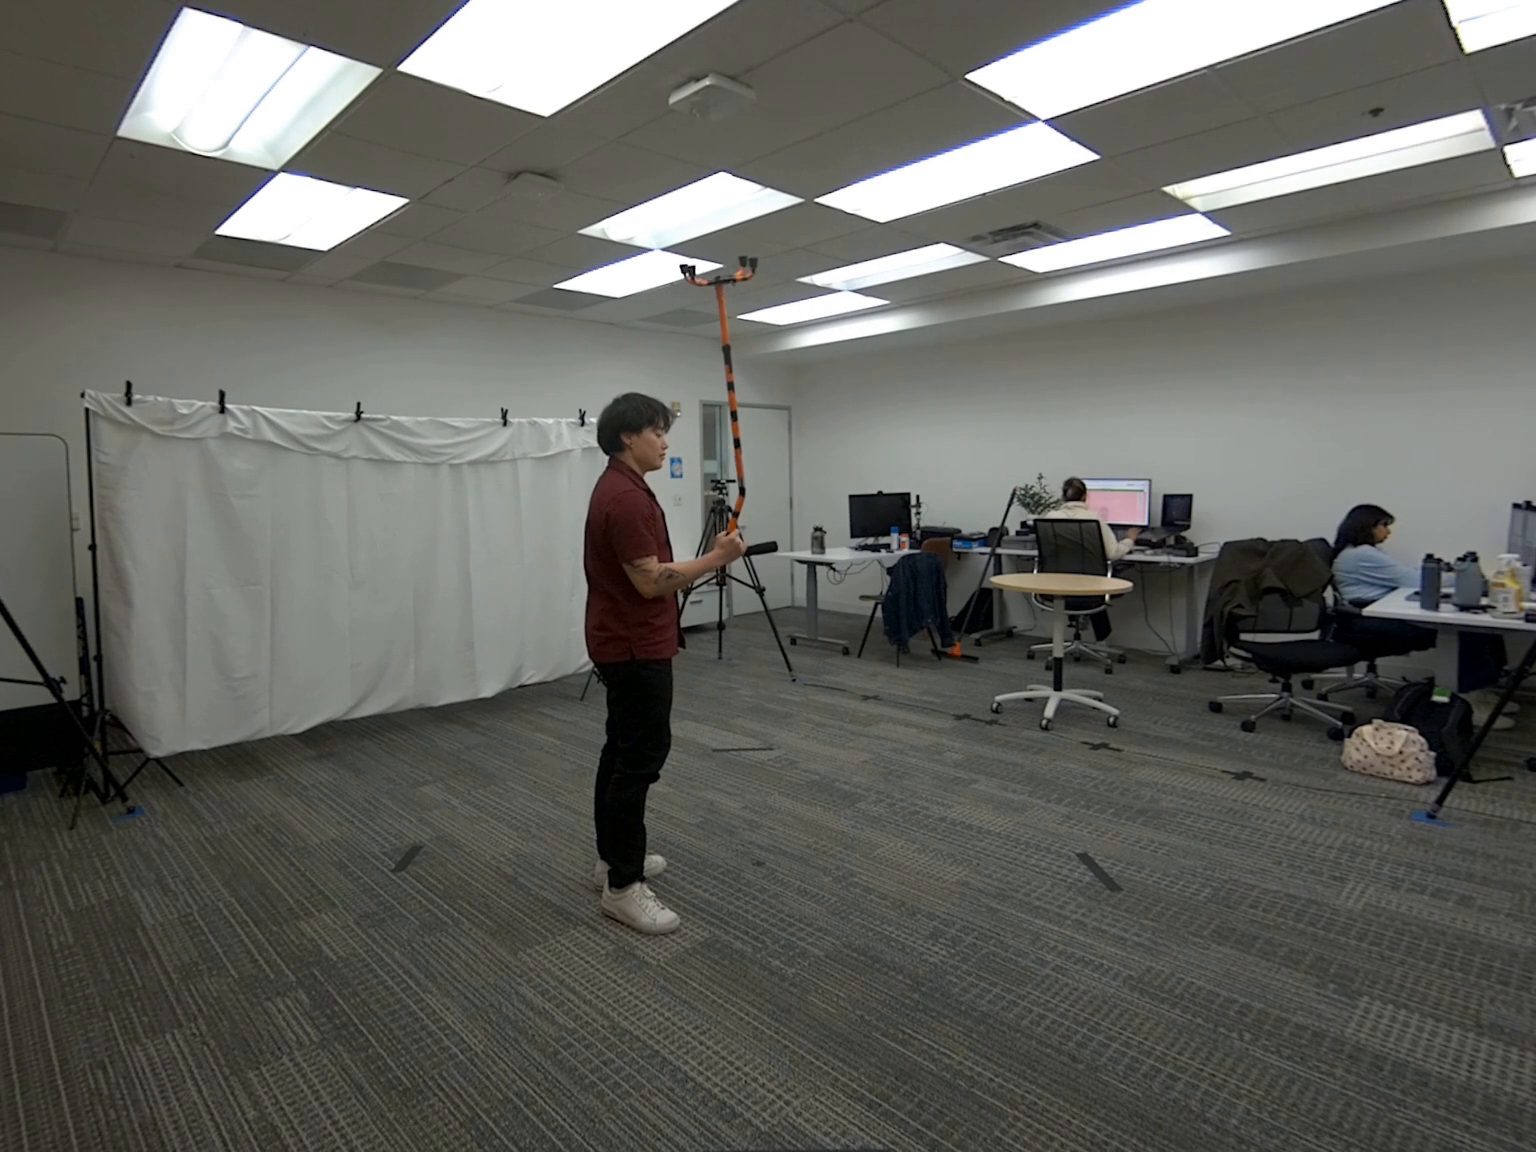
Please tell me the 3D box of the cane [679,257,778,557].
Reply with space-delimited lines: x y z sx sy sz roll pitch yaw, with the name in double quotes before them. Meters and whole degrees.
"cane" -0.102 -0.480 2.560 0.205 0.889 0.155 -9 21 -7
